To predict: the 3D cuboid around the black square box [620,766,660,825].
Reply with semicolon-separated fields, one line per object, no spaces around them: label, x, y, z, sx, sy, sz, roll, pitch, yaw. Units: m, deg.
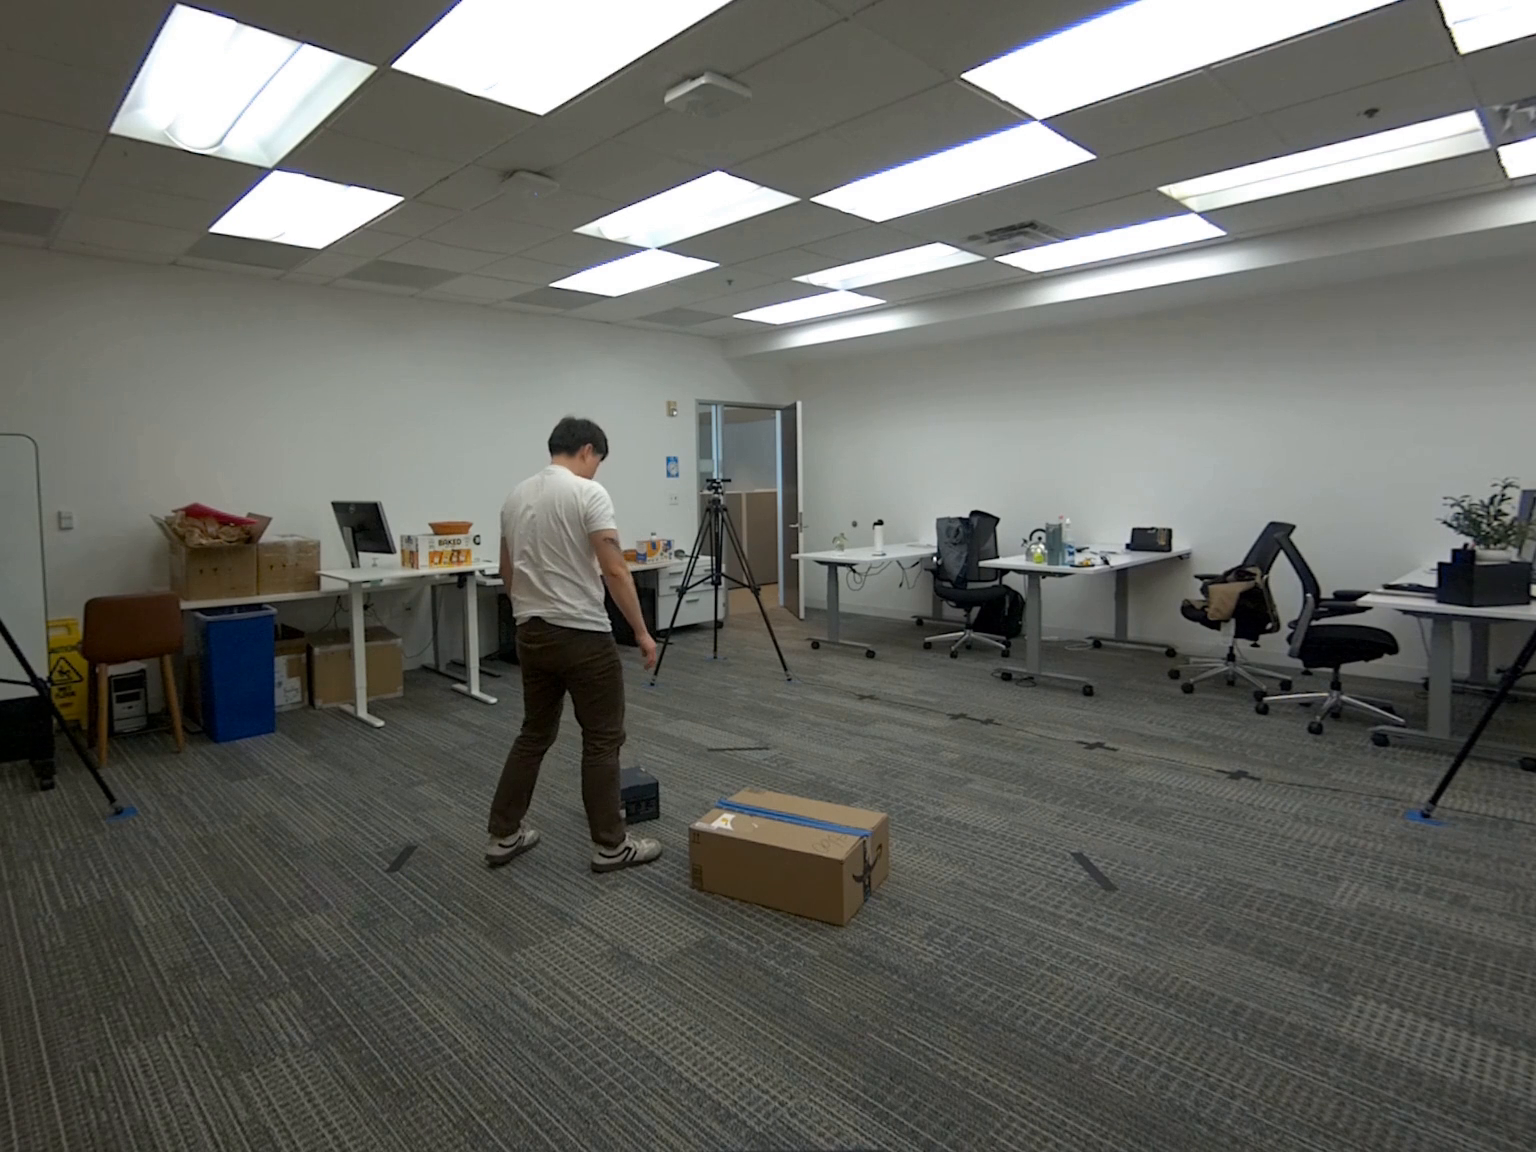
black square box;-0.596;0.919;3.583;0.212;0.155;0.234;-4;6;-29
